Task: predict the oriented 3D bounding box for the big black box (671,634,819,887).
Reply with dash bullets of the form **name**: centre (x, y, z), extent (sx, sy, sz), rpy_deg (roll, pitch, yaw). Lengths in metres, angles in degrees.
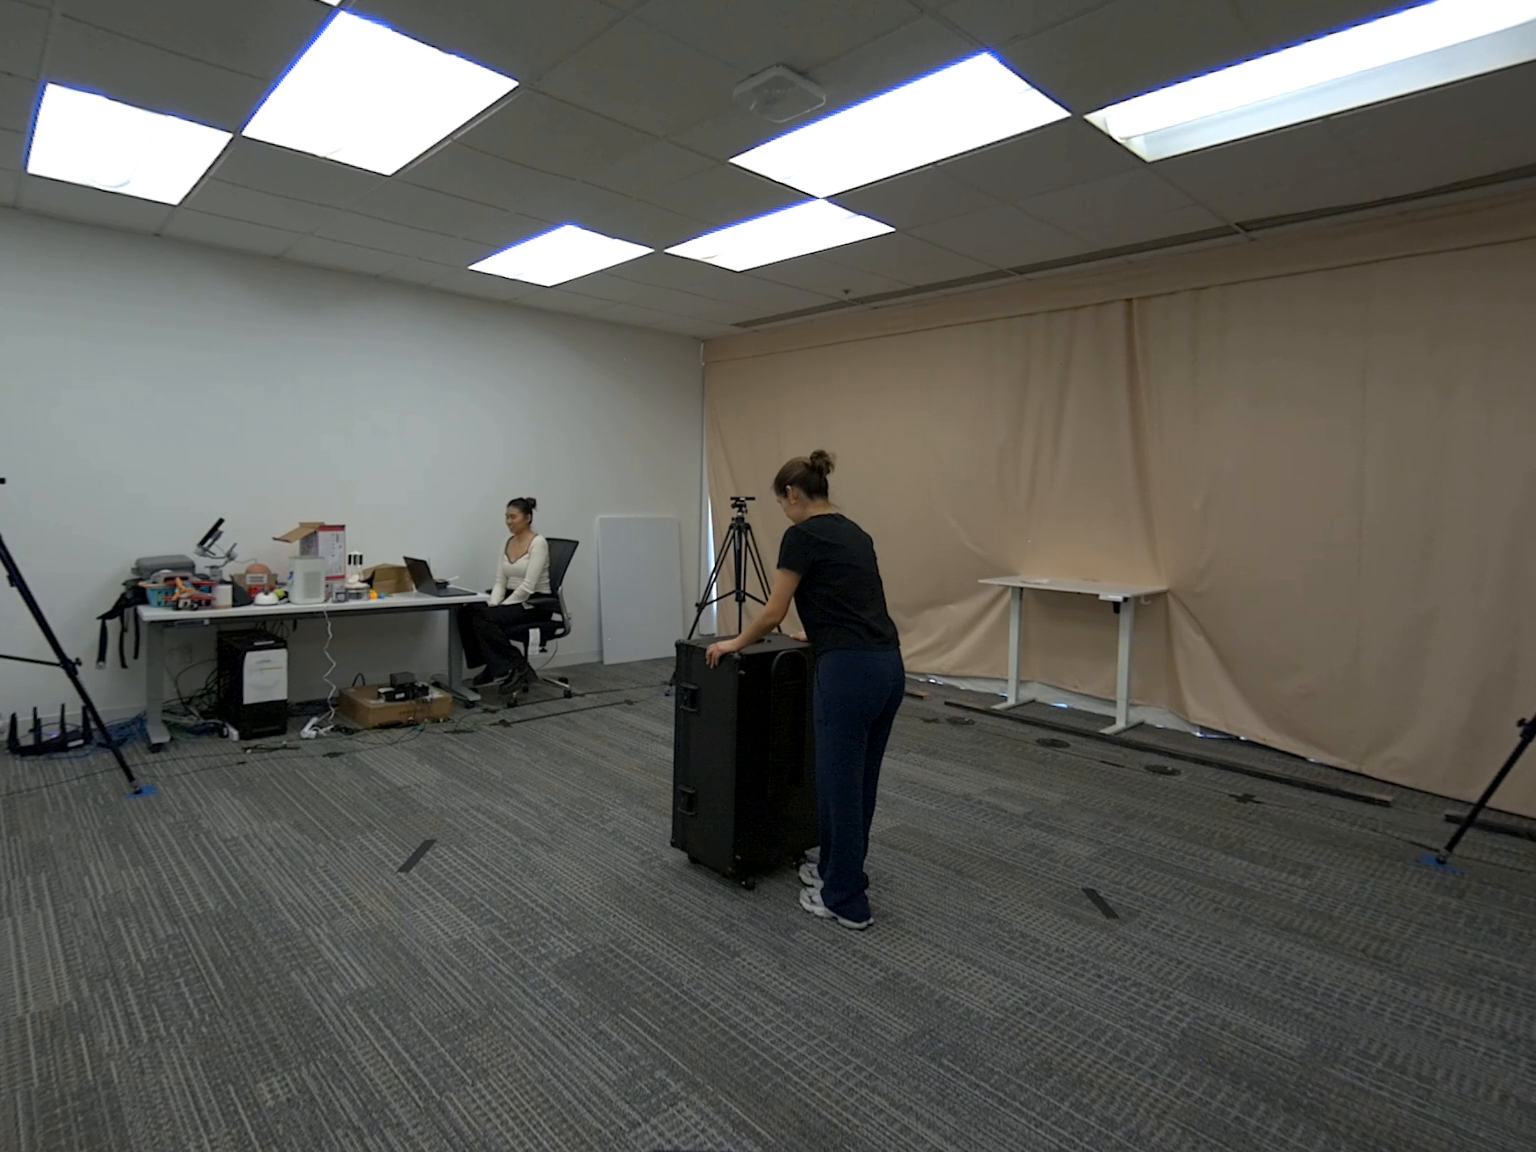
- **big black box**: centre (-0.064, 0.620, 3.180), extent (0.509, 0.860, 0.406), rpy_deg (-1, 4, -43)
